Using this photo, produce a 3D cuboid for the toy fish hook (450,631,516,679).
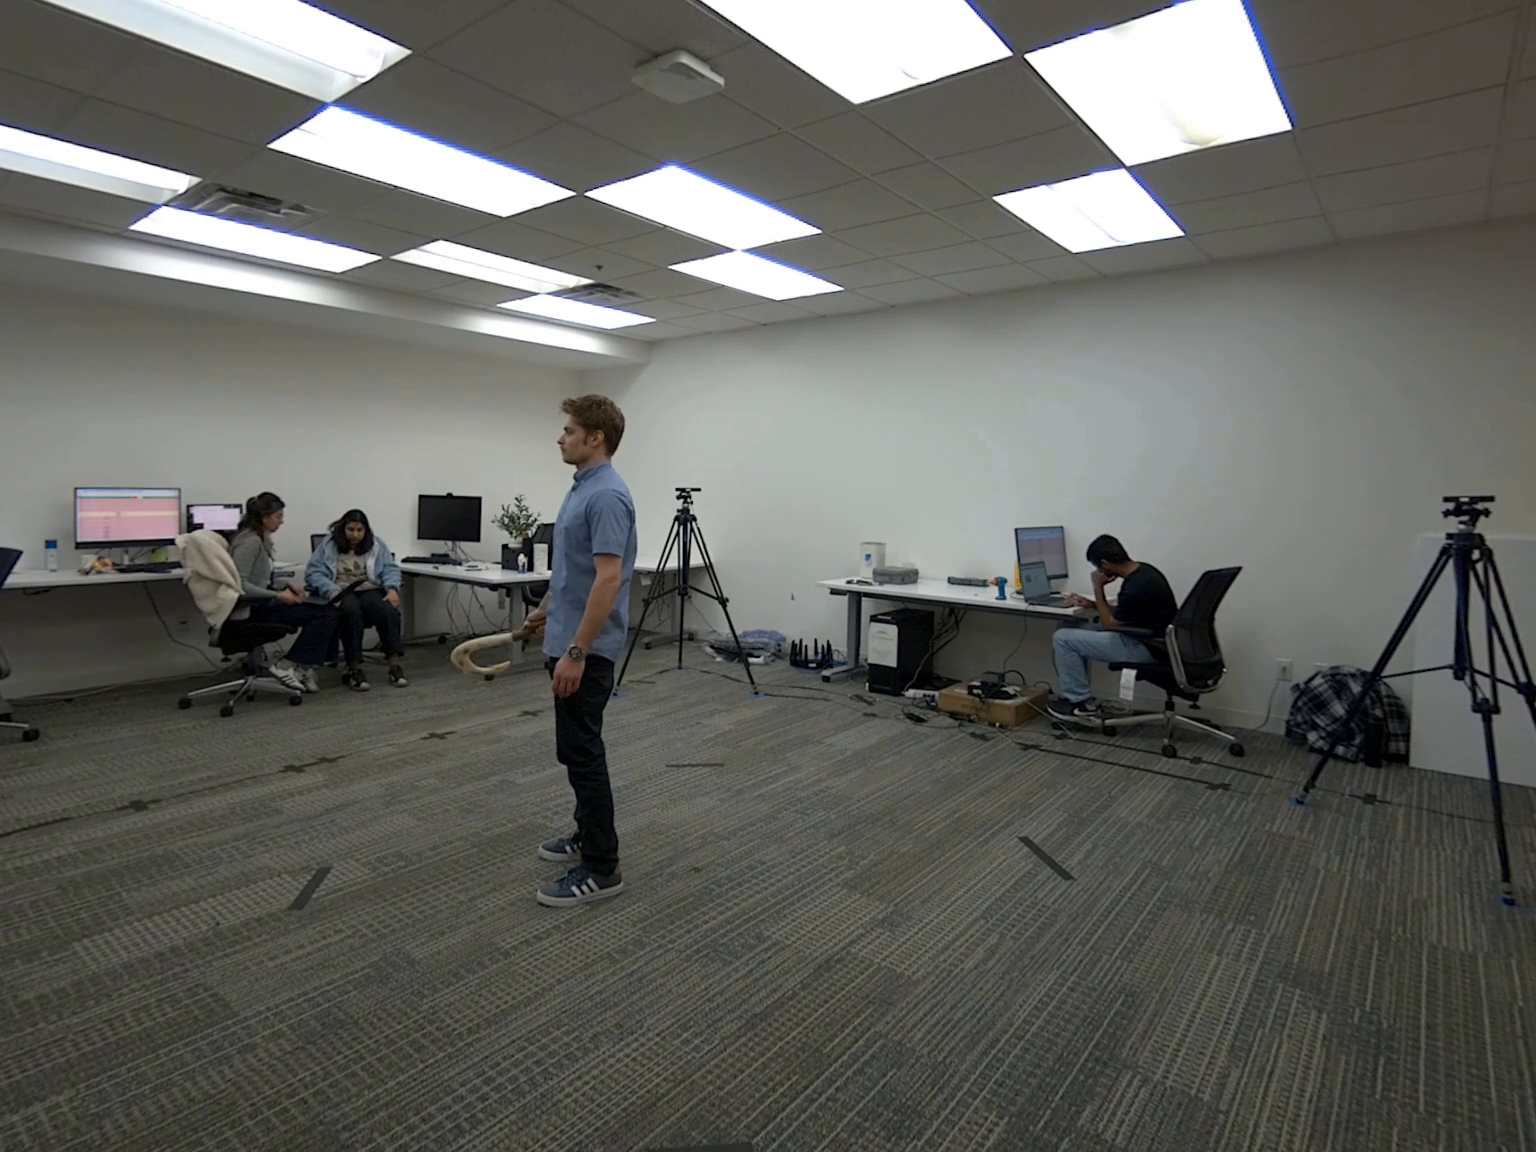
[{"bbox_3d":[-1.080,0.298,3.518,0.511,0.050,0.215,-20,-42,13],"label":"toy fish hook"}]
